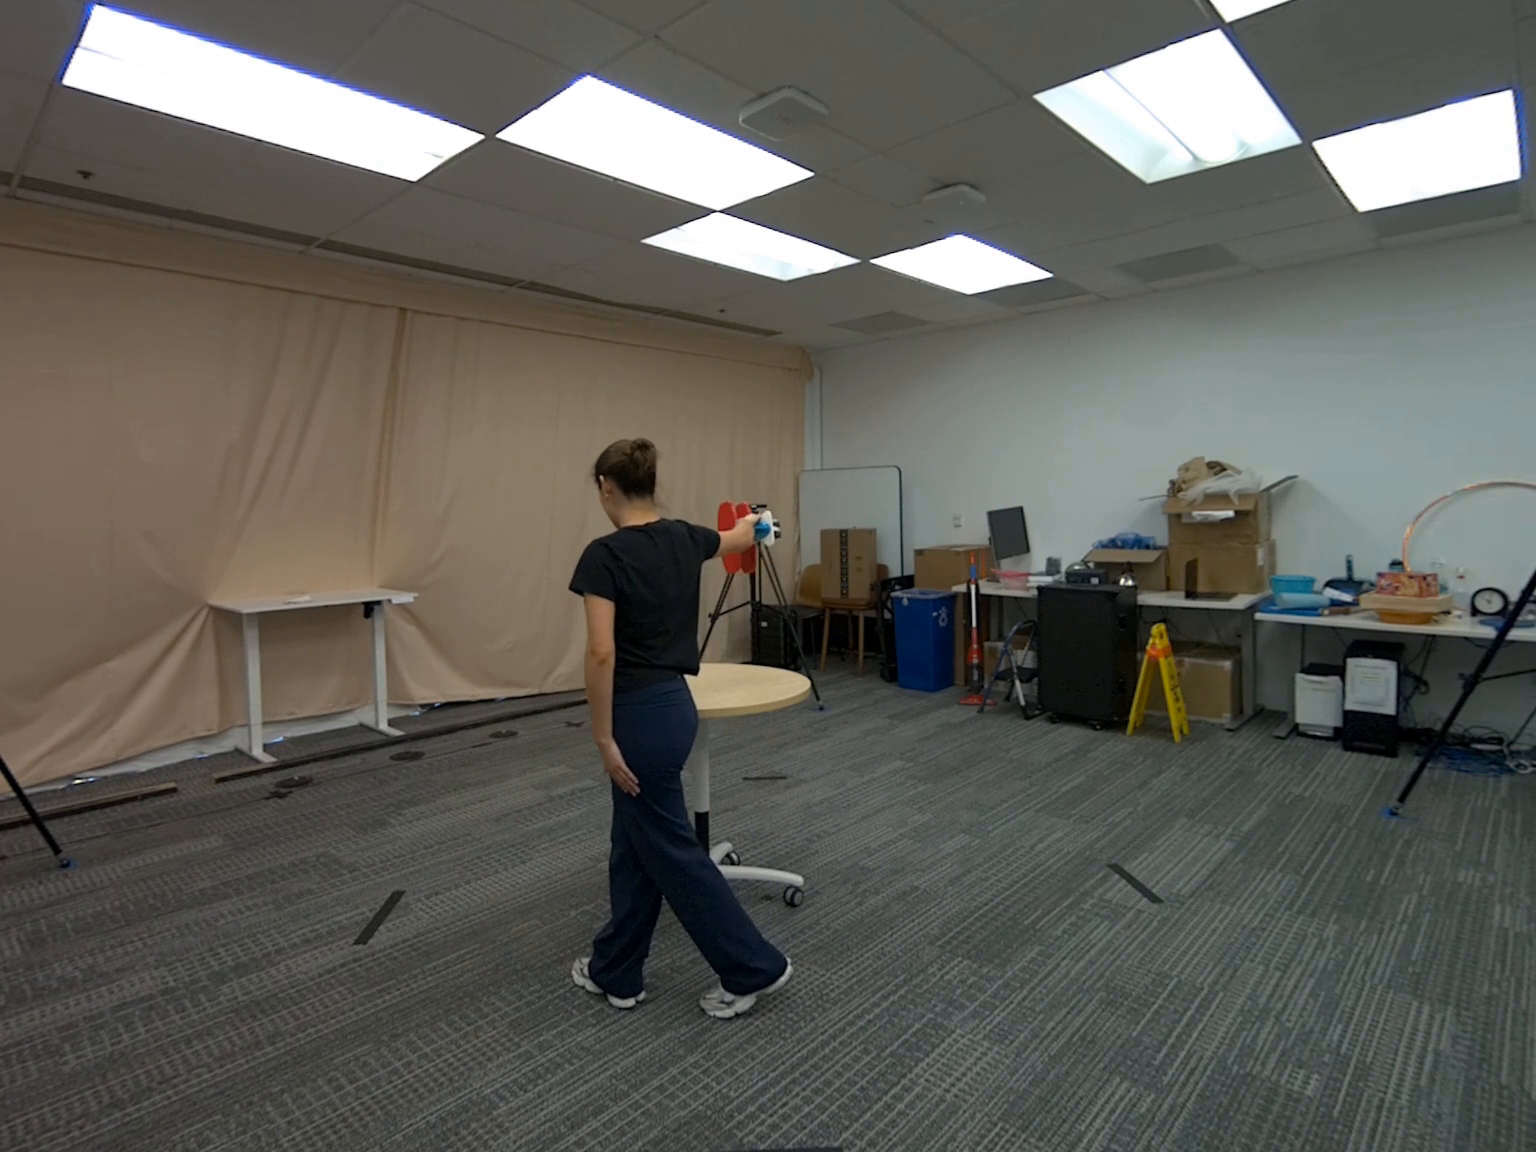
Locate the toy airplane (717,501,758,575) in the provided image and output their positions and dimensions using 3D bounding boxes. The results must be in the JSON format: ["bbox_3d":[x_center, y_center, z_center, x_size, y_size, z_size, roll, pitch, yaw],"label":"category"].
[{"bbox_3d":[-0.056,-0.161,2.975,0.152,0.258,0.259,-2,-38,-31],"label":"toy airplane"}]
